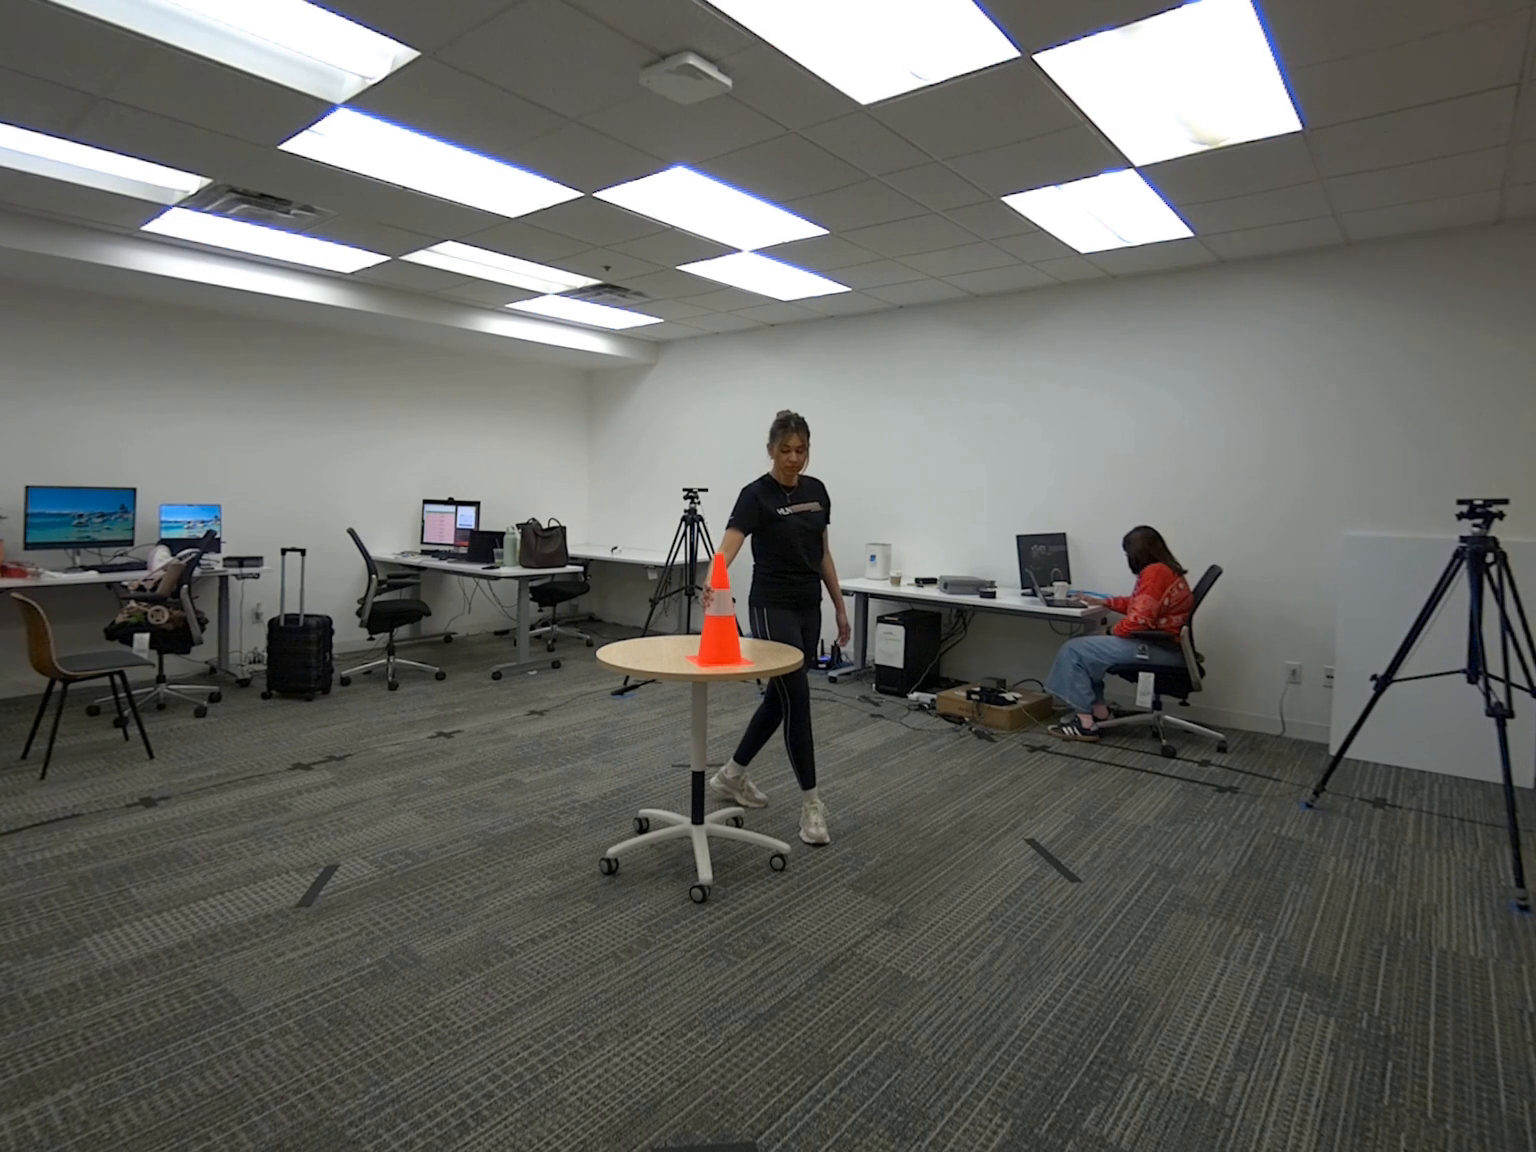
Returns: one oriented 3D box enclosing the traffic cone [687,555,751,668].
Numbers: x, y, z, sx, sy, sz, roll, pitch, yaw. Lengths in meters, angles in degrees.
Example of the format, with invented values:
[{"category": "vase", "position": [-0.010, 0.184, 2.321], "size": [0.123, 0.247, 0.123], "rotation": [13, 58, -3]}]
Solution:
[{"category": "traffic cone", "position": [-0.169, 0.111, 2.996], "size": [0.200, 0.383, 0.209], "rotation": [3, 2, -25]}]
